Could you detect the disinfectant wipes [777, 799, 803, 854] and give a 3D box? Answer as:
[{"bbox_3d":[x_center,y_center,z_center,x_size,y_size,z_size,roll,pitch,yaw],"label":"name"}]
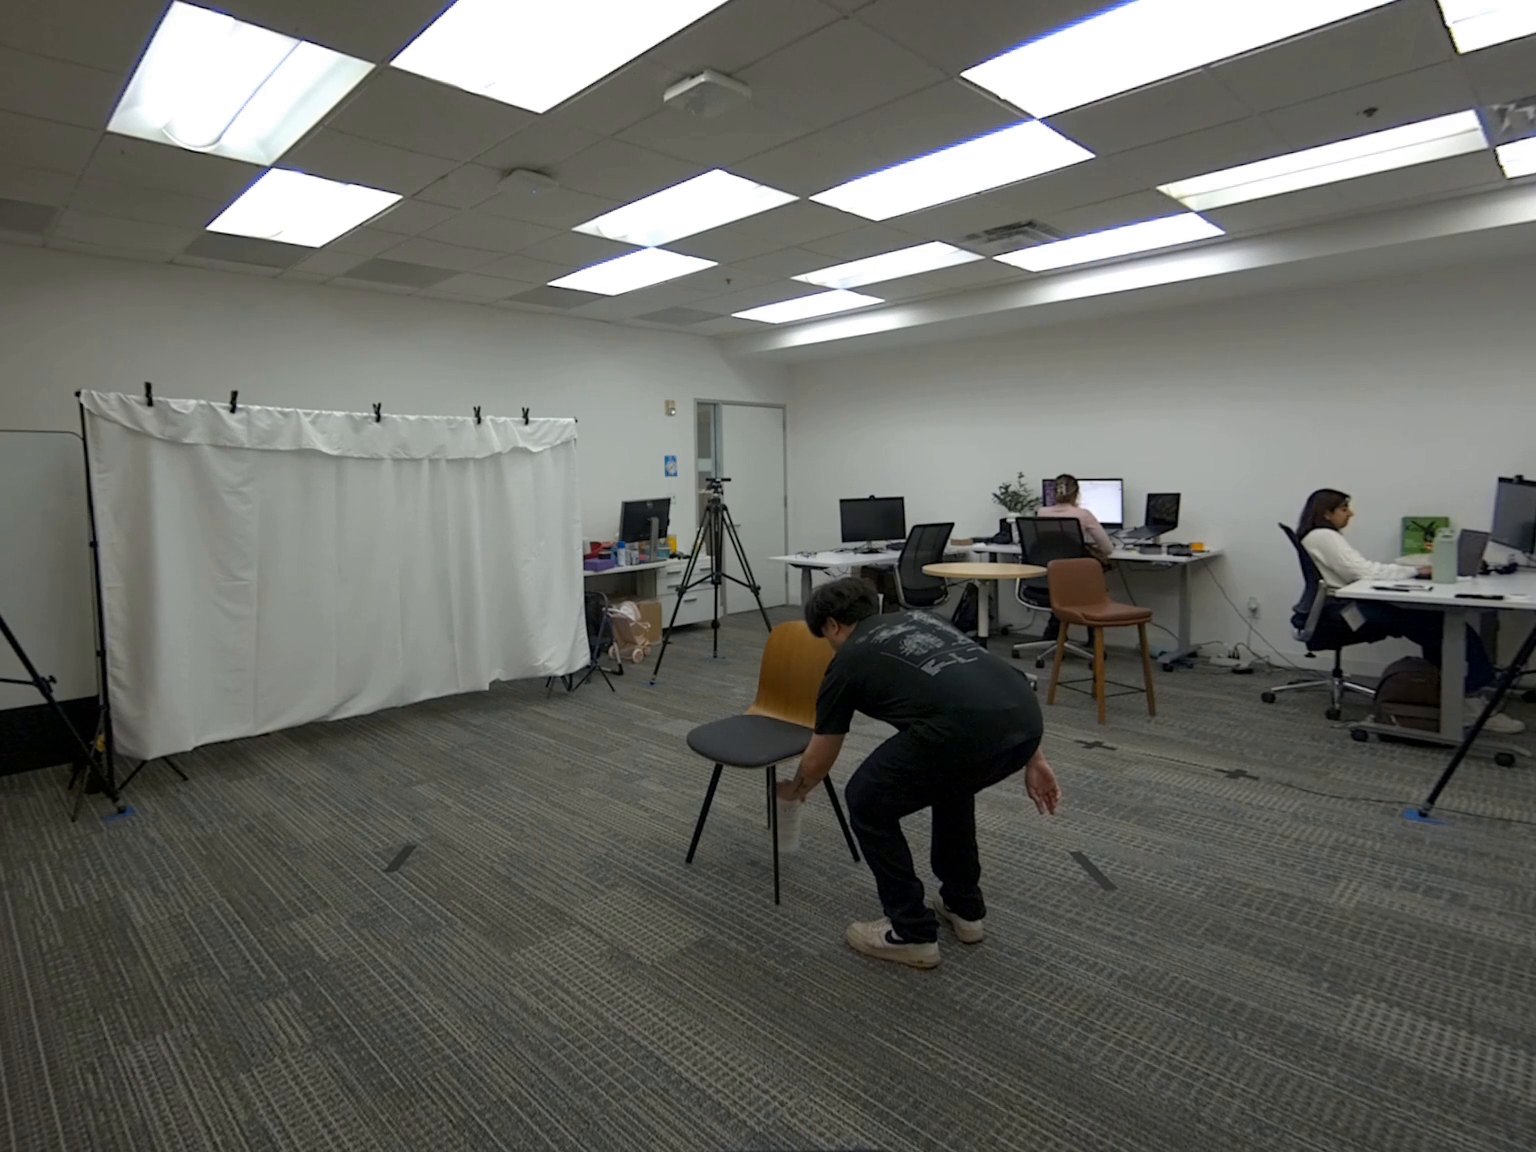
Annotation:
[{"bbox_3d":[0.072,0.877,3.073,0.117,0.216,0.118,3,5,-2],"label":"disinfectant wipes"}]
